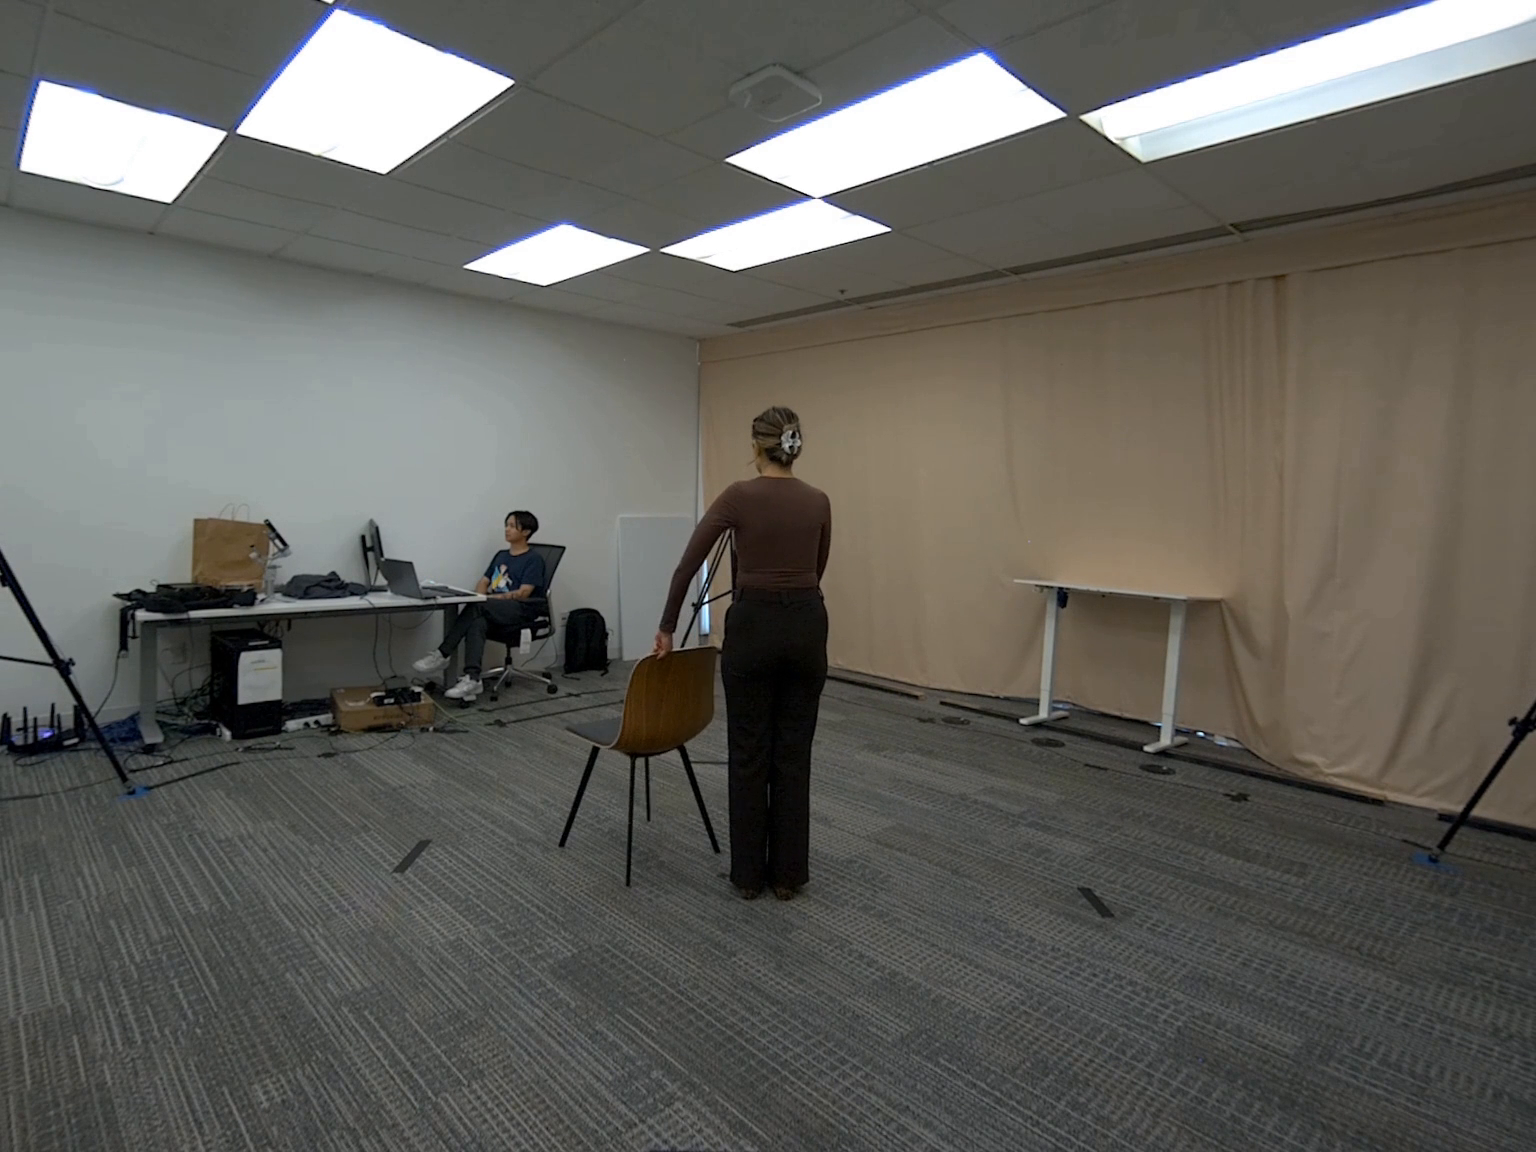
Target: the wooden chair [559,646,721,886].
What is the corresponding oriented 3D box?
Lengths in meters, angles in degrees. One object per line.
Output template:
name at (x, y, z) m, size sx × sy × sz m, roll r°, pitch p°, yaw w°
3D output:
wooden chair at (-0.499, 0.653, 3.286) m, size 0.467 × 0.873 × 0.538 m, roll -2°, pitch 10°, yaw -44°
